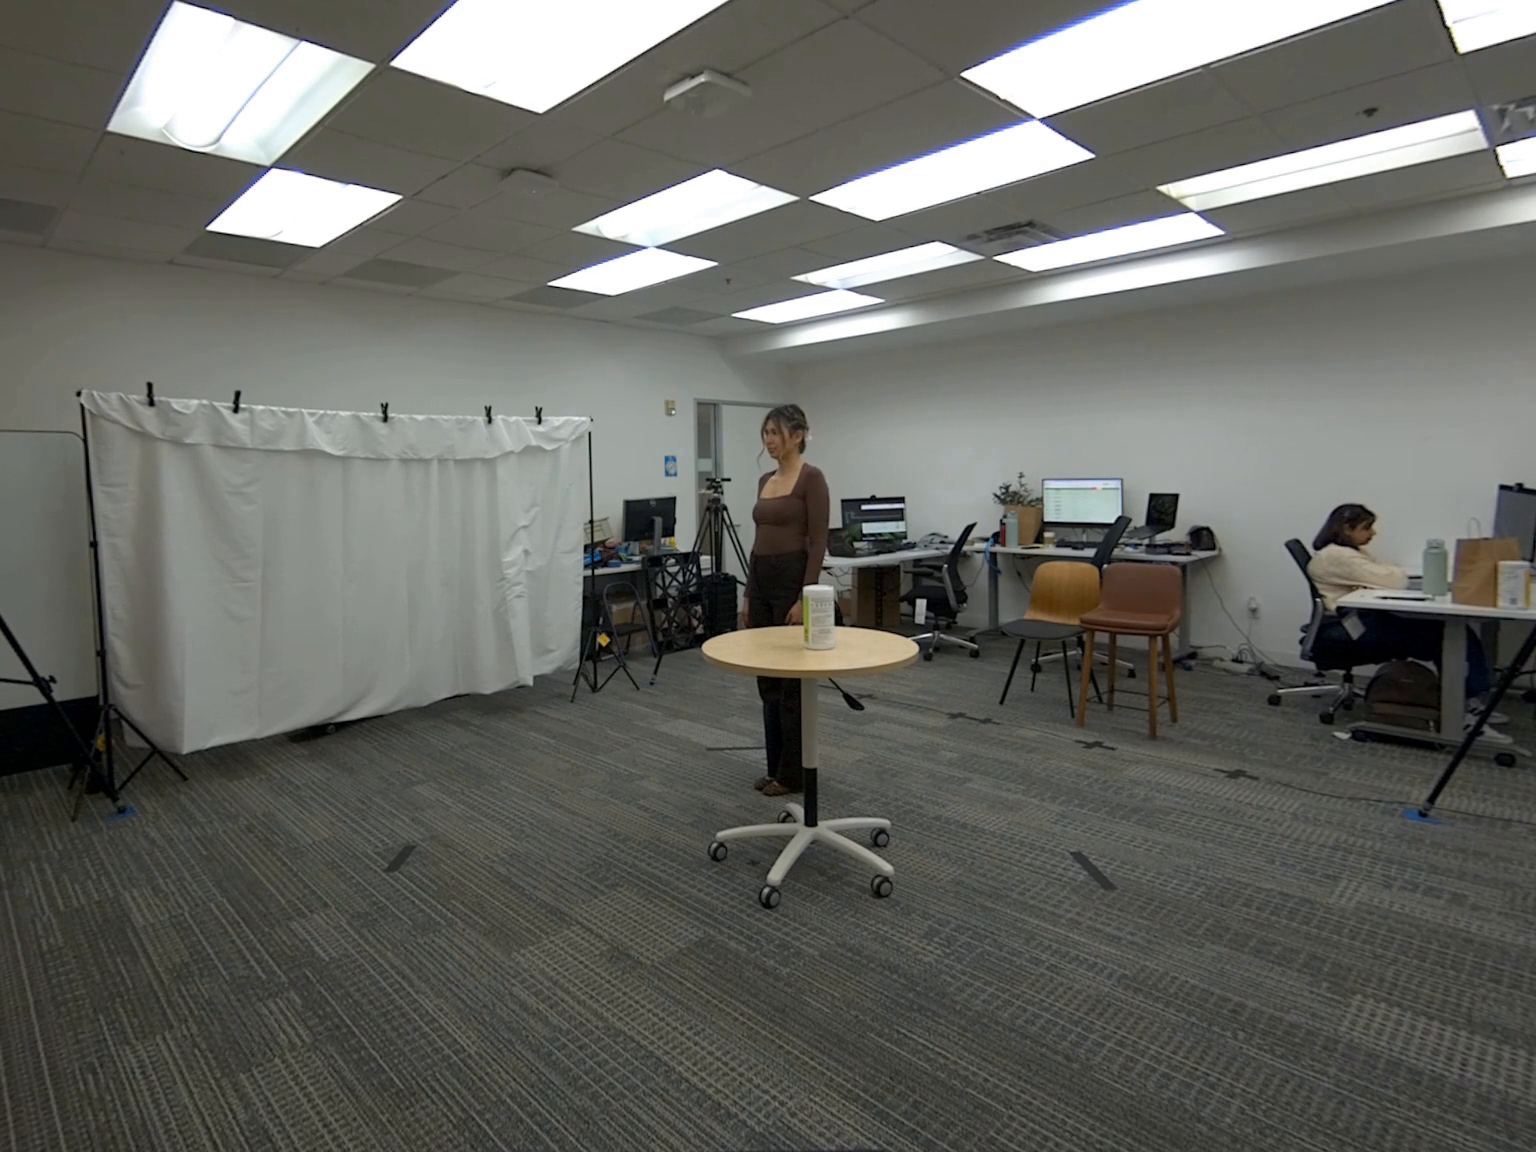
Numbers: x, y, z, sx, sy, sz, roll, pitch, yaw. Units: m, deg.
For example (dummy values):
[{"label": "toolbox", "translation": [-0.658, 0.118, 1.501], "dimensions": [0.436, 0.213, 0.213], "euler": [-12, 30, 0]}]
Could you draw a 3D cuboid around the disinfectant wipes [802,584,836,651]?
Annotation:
[{"label": "disinfectant wipes", "translation": [0.186, 0.148, 3.003], "dimensions": [0.118, 0.216, 0.118], "euler": [-2, 5, -1]}]
